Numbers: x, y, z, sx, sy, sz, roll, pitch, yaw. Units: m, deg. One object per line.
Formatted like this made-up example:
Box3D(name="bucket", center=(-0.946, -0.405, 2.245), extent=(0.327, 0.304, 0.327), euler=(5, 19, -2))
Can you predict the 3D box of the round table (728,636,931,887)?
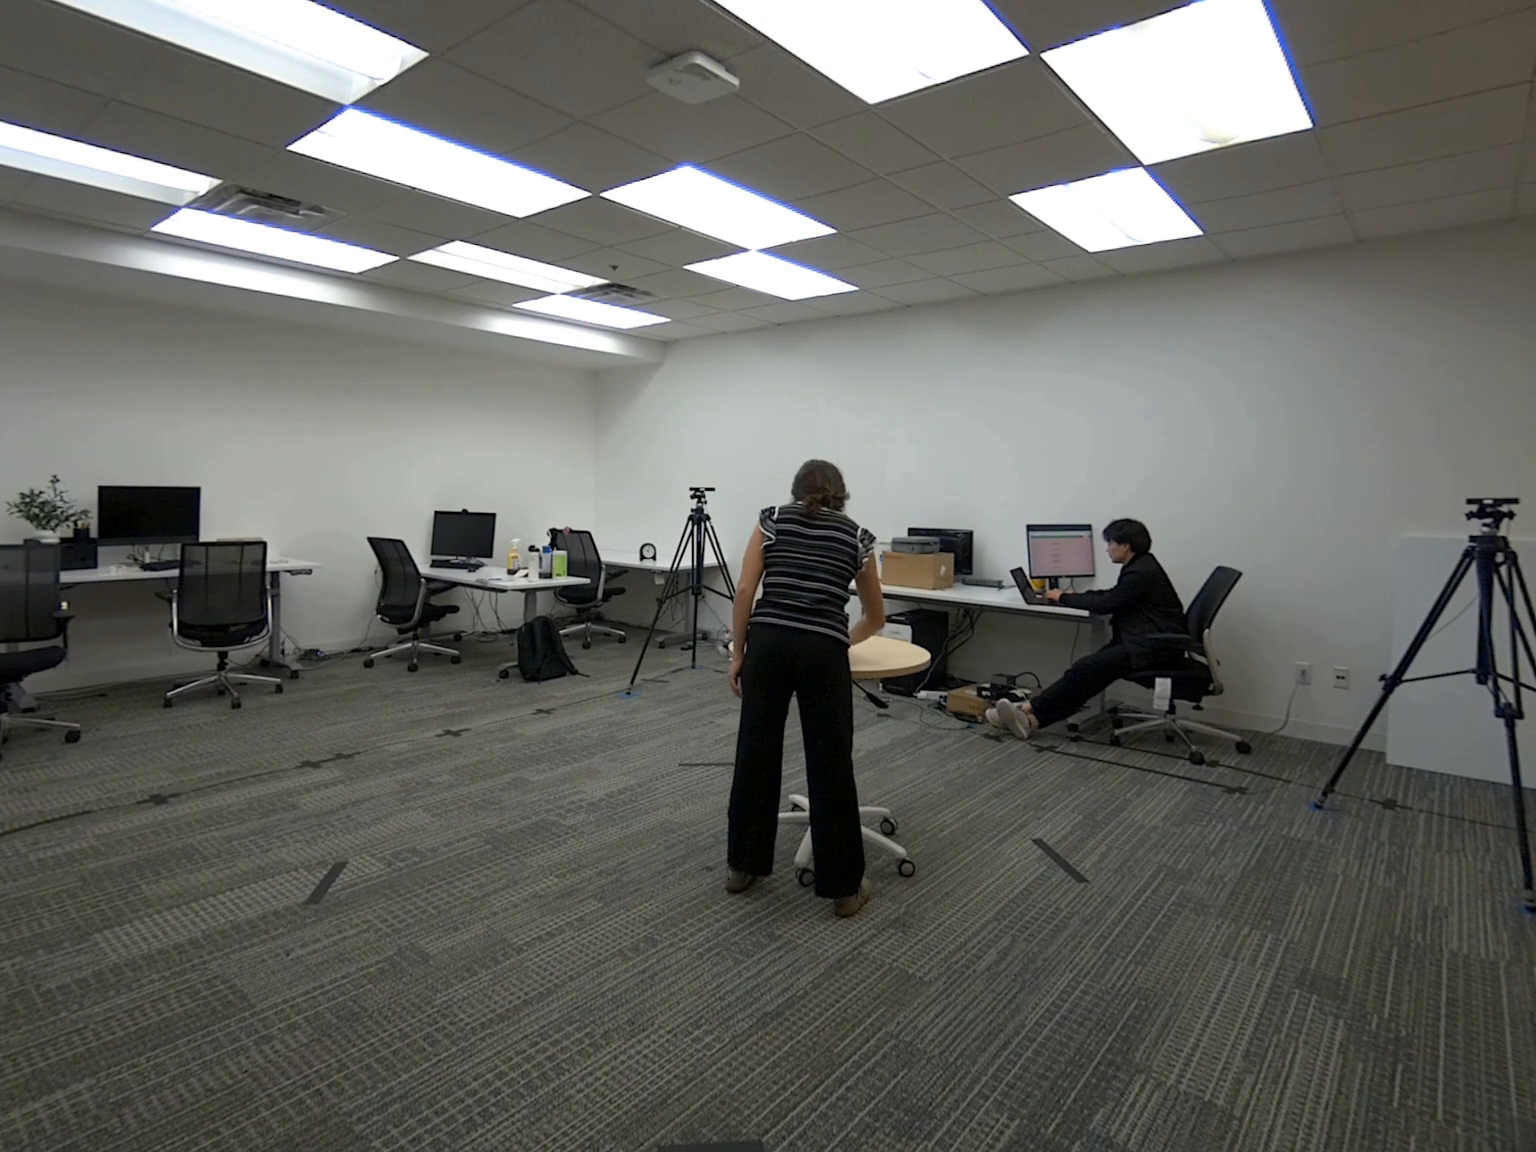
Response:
Box3D(name="round table", center=(0.218, 0.669, 3.297), extent=(0.763, 0.791, 0.768), euler=(1, 4, -2))
